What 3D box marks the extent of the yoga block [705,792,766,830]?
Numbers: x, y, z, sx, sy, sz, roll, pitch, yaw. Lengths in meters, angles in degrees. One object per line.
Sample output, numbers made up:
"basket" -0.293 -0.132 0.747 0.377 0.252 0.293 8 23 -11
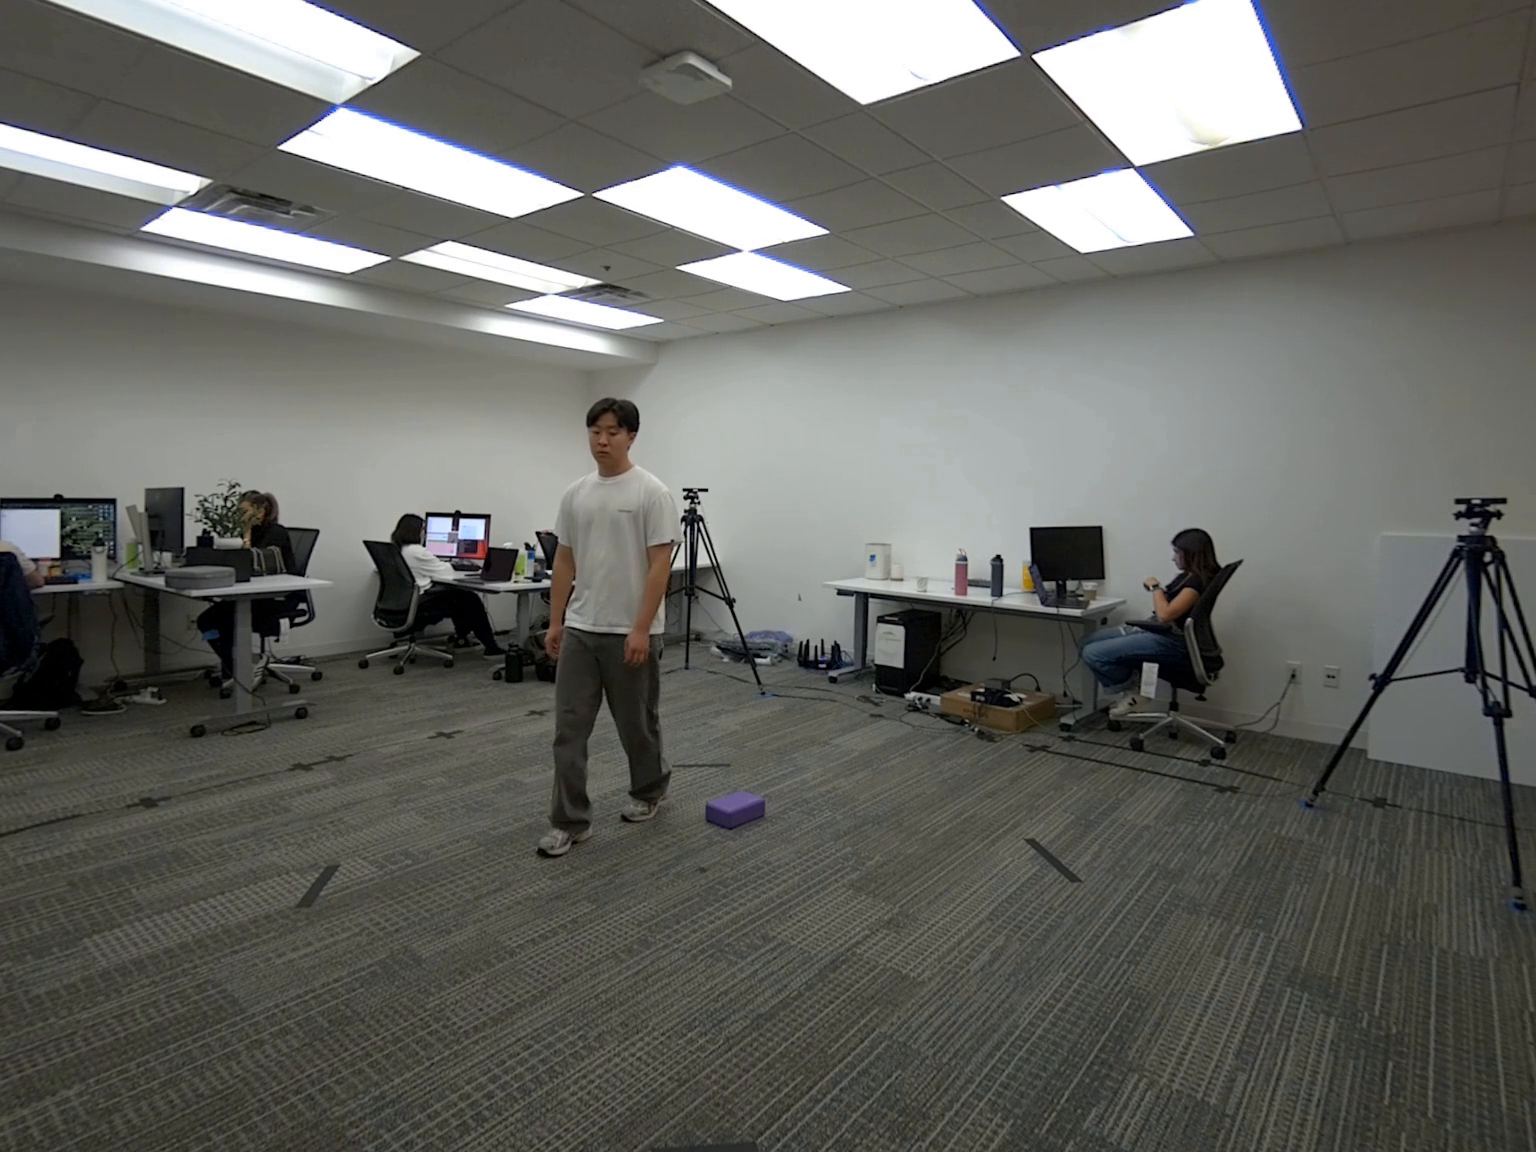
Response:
"yoga block" -0.138 0.983 3.602 0.154 0.076 0.222 6 7 41
